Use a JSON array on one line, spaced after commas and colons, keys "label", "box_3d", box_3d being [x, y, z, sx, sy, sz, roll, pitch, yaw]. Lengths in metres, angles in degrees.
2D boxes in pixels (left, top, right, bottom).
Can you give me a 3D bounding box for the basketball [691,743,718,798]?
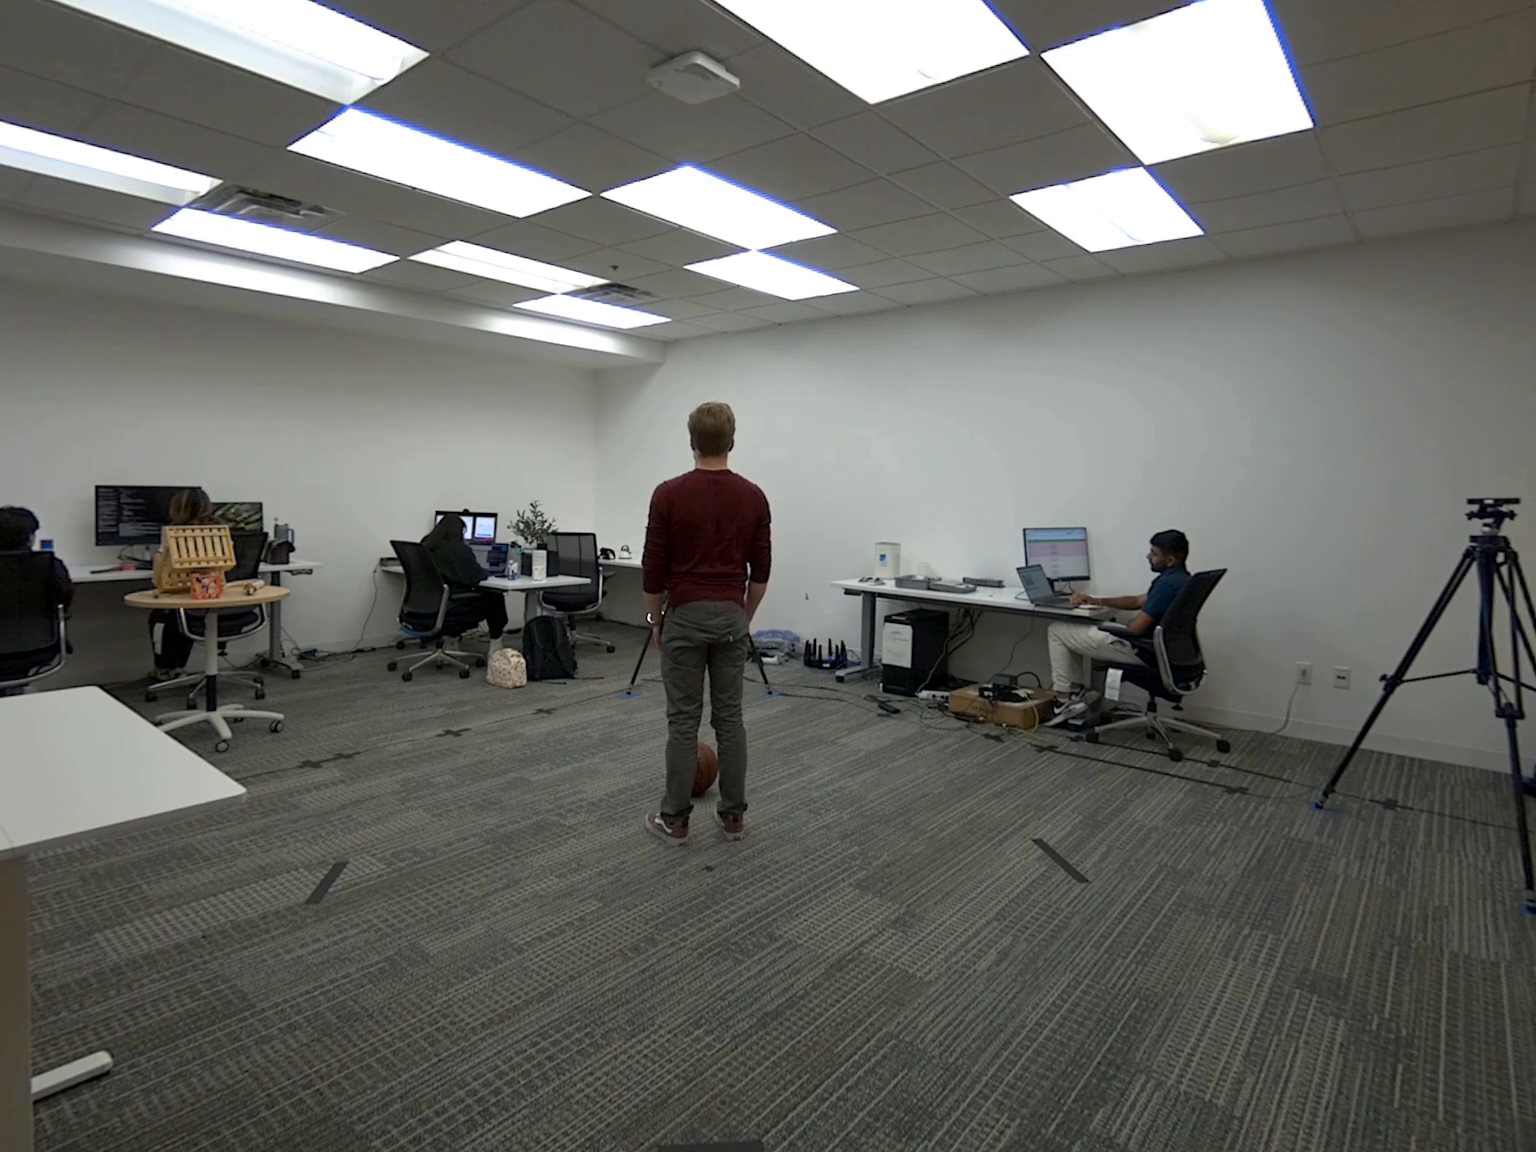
[{"label": "basketball", "box_3d": [-0.348, 0.864, 3.877, 0.235, 0.235, 0.237, 1, 4, -2]}]
